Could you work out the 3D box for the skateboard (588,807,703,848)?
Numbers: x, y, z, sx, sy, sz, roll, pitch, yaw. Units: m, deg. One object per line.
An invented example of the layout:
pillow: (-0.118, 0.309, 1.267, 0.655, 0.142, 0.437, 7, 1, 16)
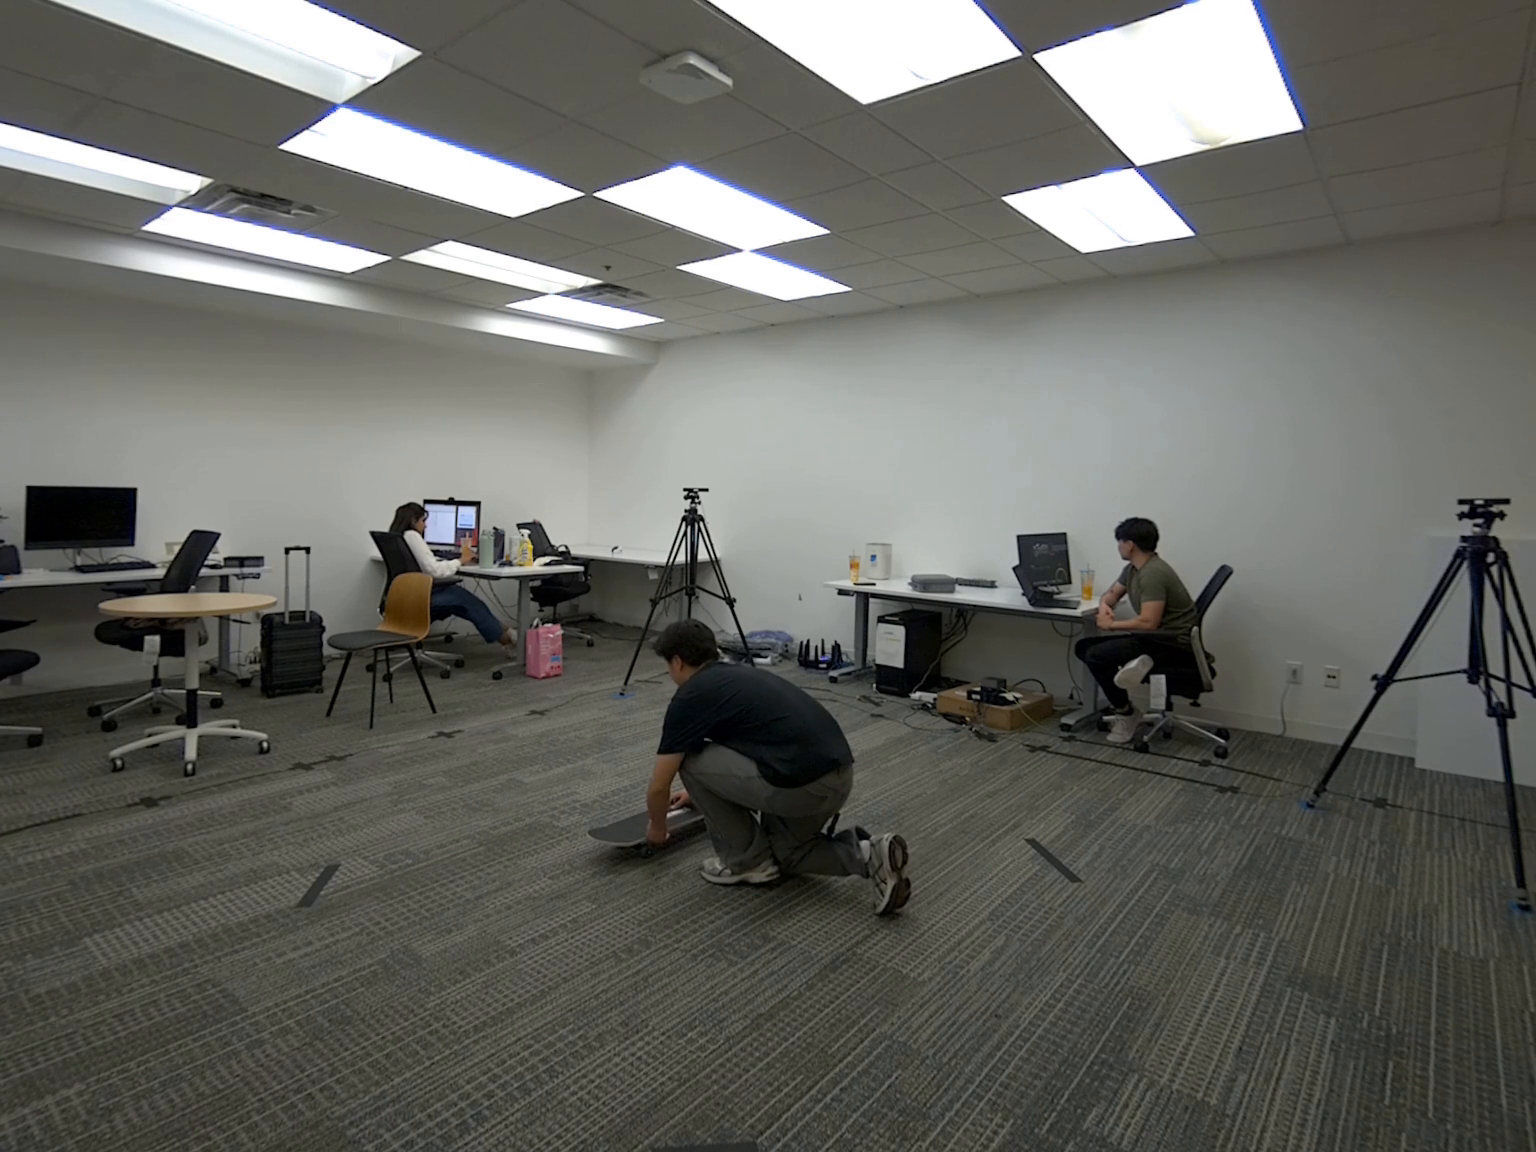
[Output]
skateboard: (-0.402, 0.978, 3.387, 0.200, 0.110, 0.762, 6, 7, 40)
